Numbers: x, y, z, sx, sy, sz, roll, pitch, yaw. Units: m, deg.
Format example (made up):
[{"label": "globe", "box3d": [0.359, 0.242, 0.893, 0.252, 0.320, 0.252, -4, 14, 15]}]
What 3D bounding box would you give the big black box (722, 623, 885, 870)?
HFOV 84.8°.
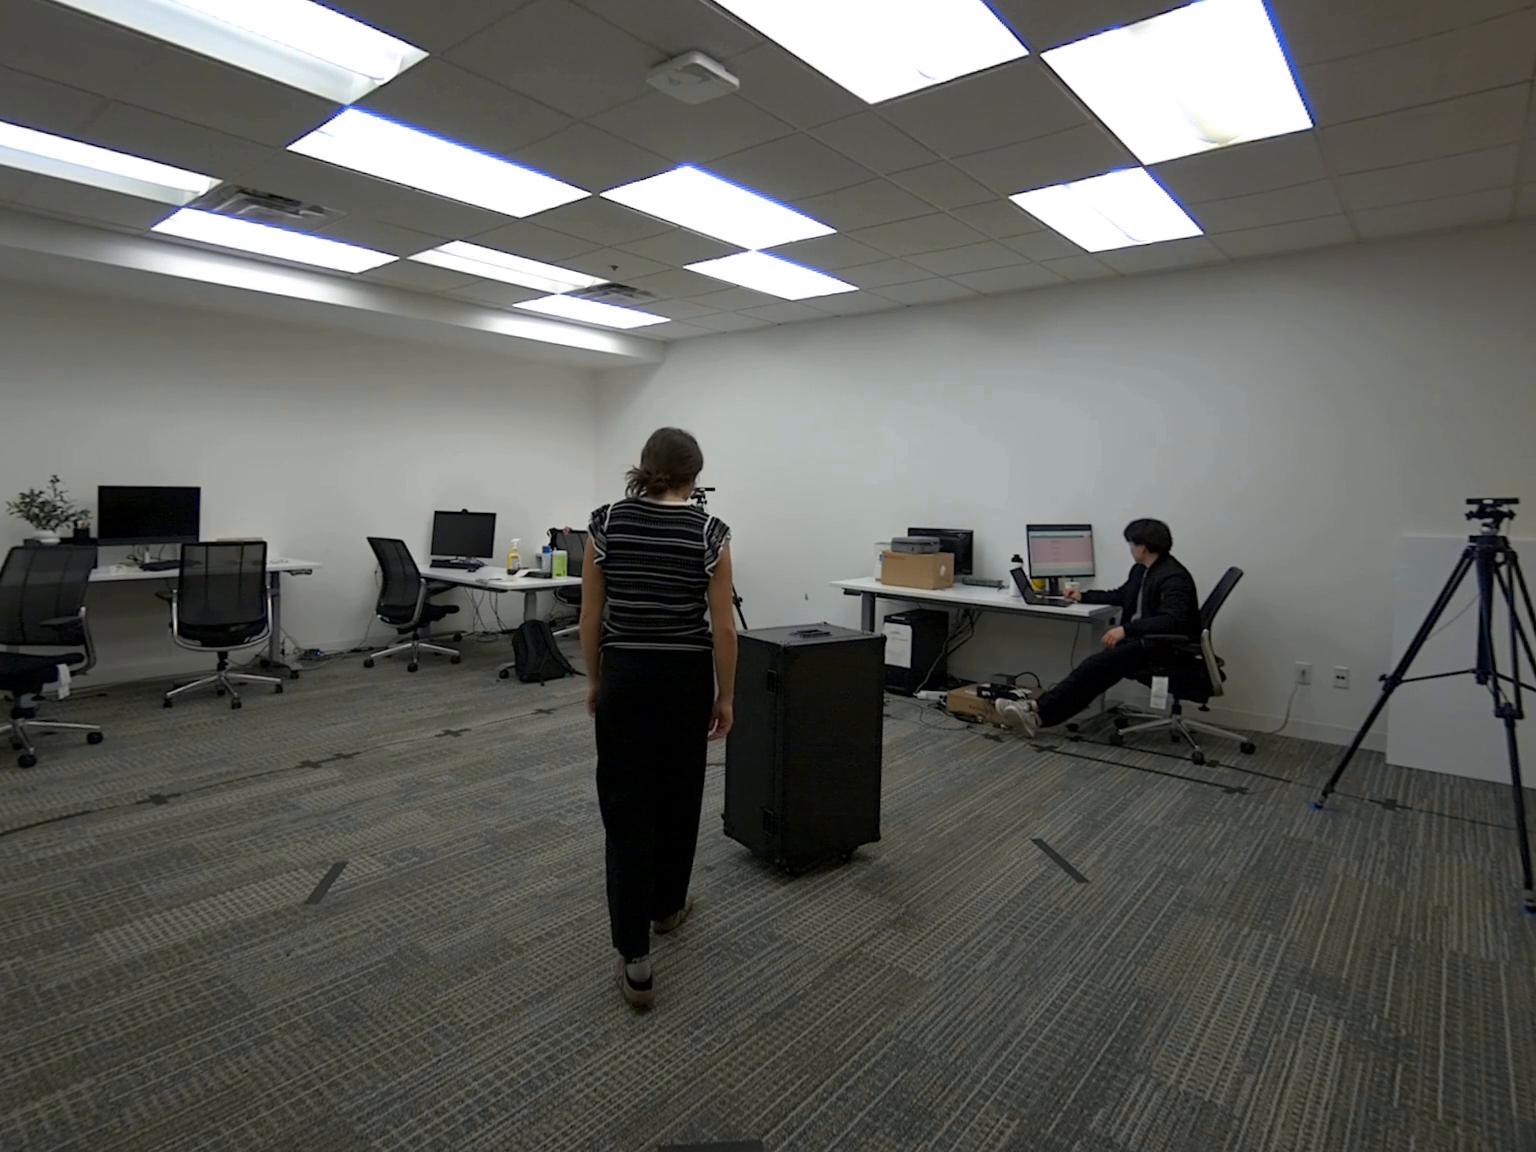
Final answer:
[{"label": "big black box", "box3d": [0.117, 0.635, 3.226, 0.506, 0.860, 0.409, -1, 3, -35]}]
